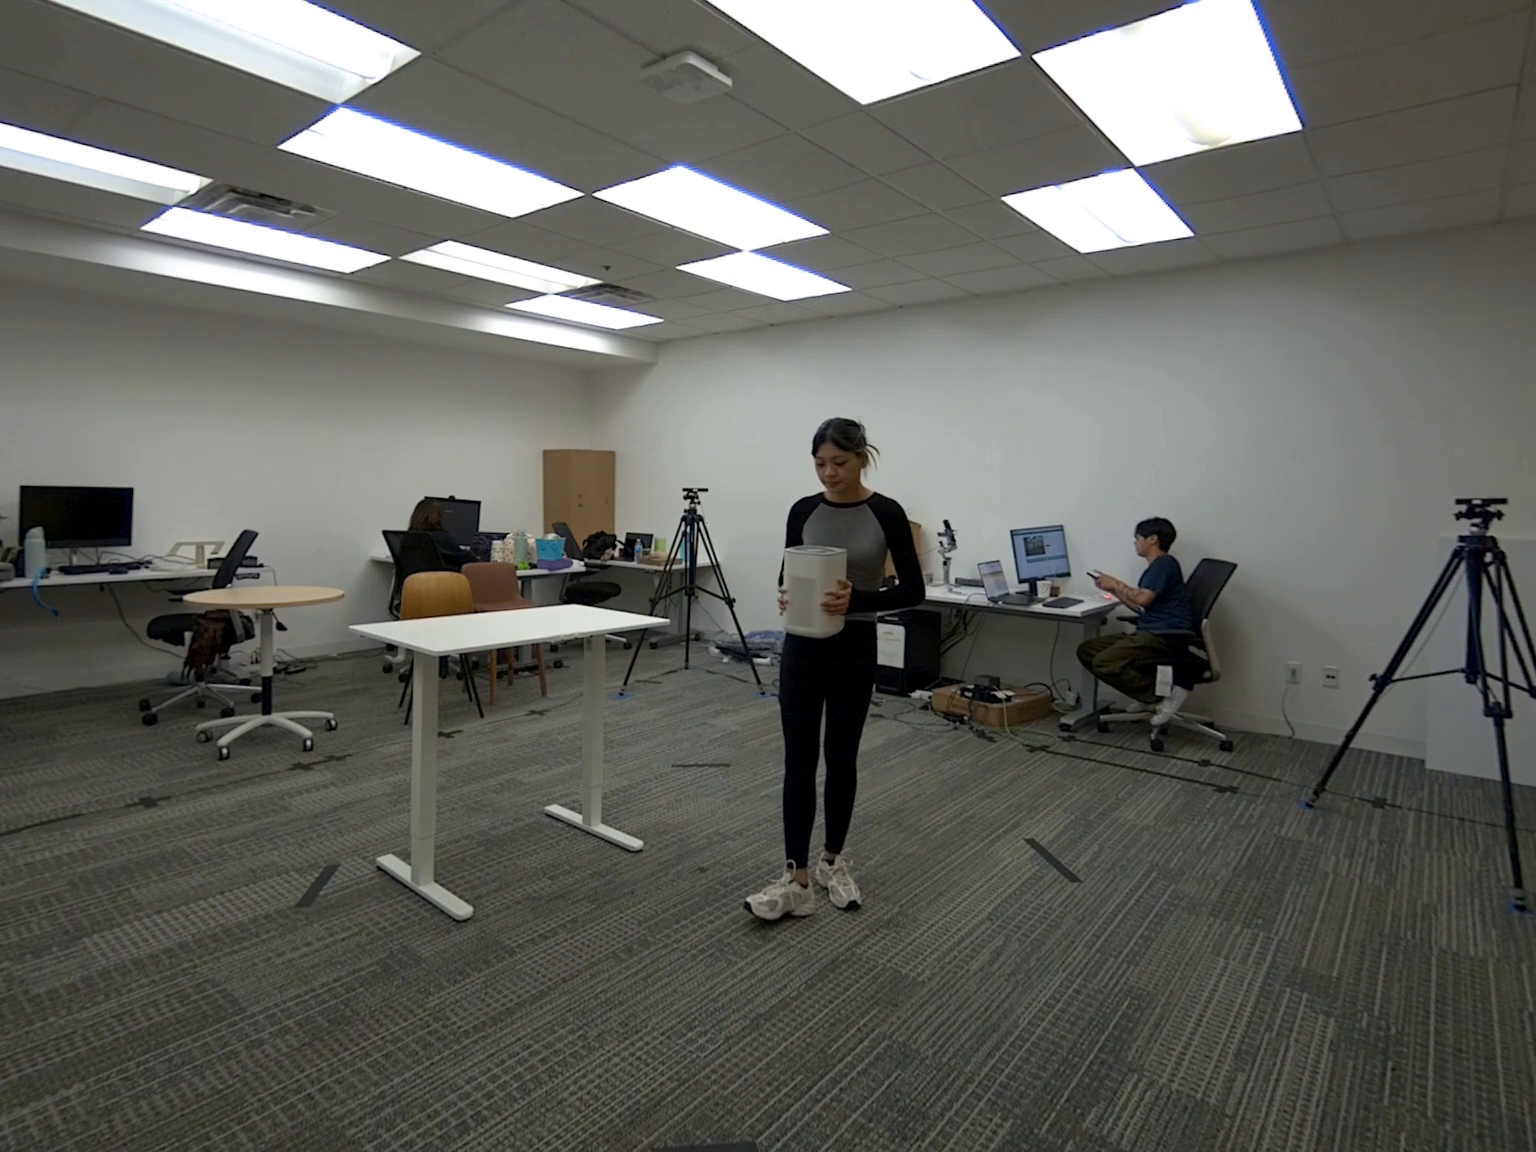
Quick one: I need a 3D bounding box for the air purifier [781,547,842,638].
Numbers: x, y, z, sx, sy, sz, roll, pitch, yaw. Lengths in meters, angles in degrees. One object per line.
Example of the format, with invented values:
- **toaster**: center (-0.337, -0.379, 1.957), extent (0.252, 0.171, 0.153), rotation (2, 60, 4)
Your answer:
- **air purifier**: center (0.137, 0.049, 2.650), extent (0.173, 0.264, 0.171), rotation (-2, 6, 5)
